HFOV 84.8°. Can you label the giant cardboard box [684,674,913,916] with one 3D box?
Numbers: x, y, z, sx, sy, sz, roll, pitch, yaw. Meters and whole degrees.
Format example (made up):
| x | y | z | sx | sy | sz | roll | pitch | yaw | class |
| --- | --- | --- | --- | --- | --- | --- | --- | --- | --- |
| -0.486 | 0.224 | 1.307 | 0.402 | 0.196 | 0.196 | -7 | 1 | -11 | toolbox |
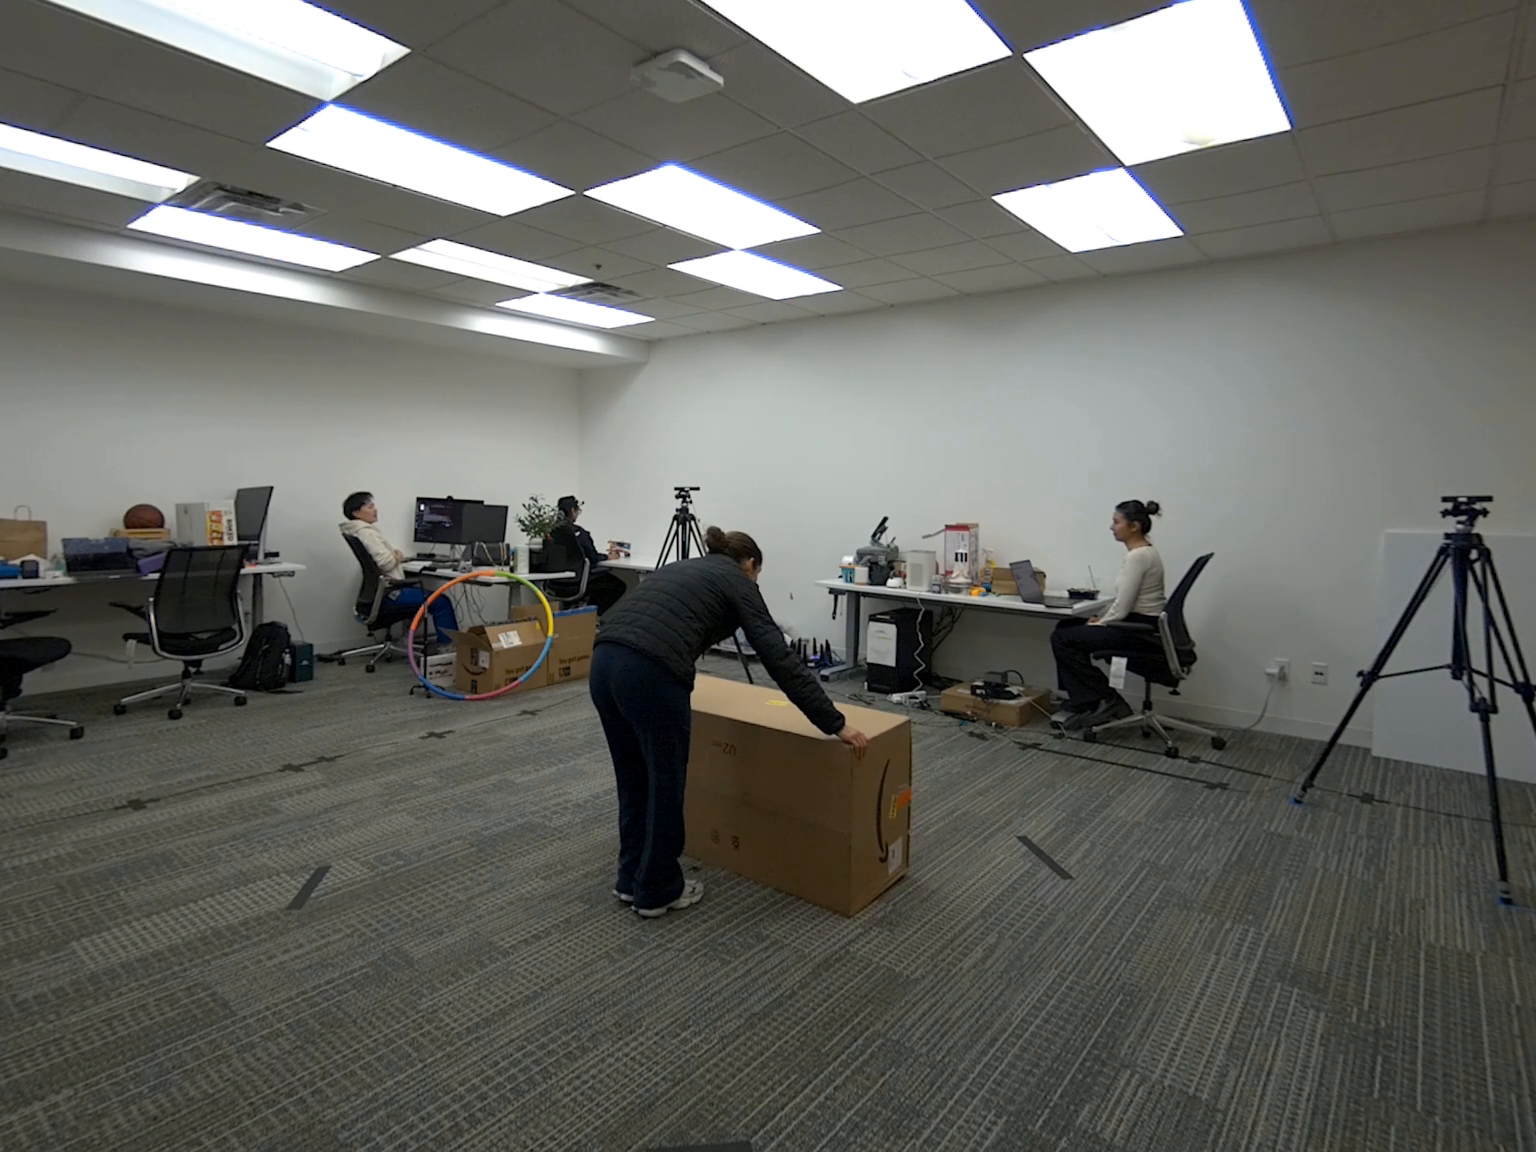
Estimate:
| x | y | z | sx | sy | sz | roll | pitch | yaw | class |
| --- | --- | --- | --- | --- | --- | --- | --- | --- | --- |
| 0.000 | 0.767 | 3.239 | 1.061 | 0.581 | 0.434 | 5 | 6 | 38 | giant cardboard box |
